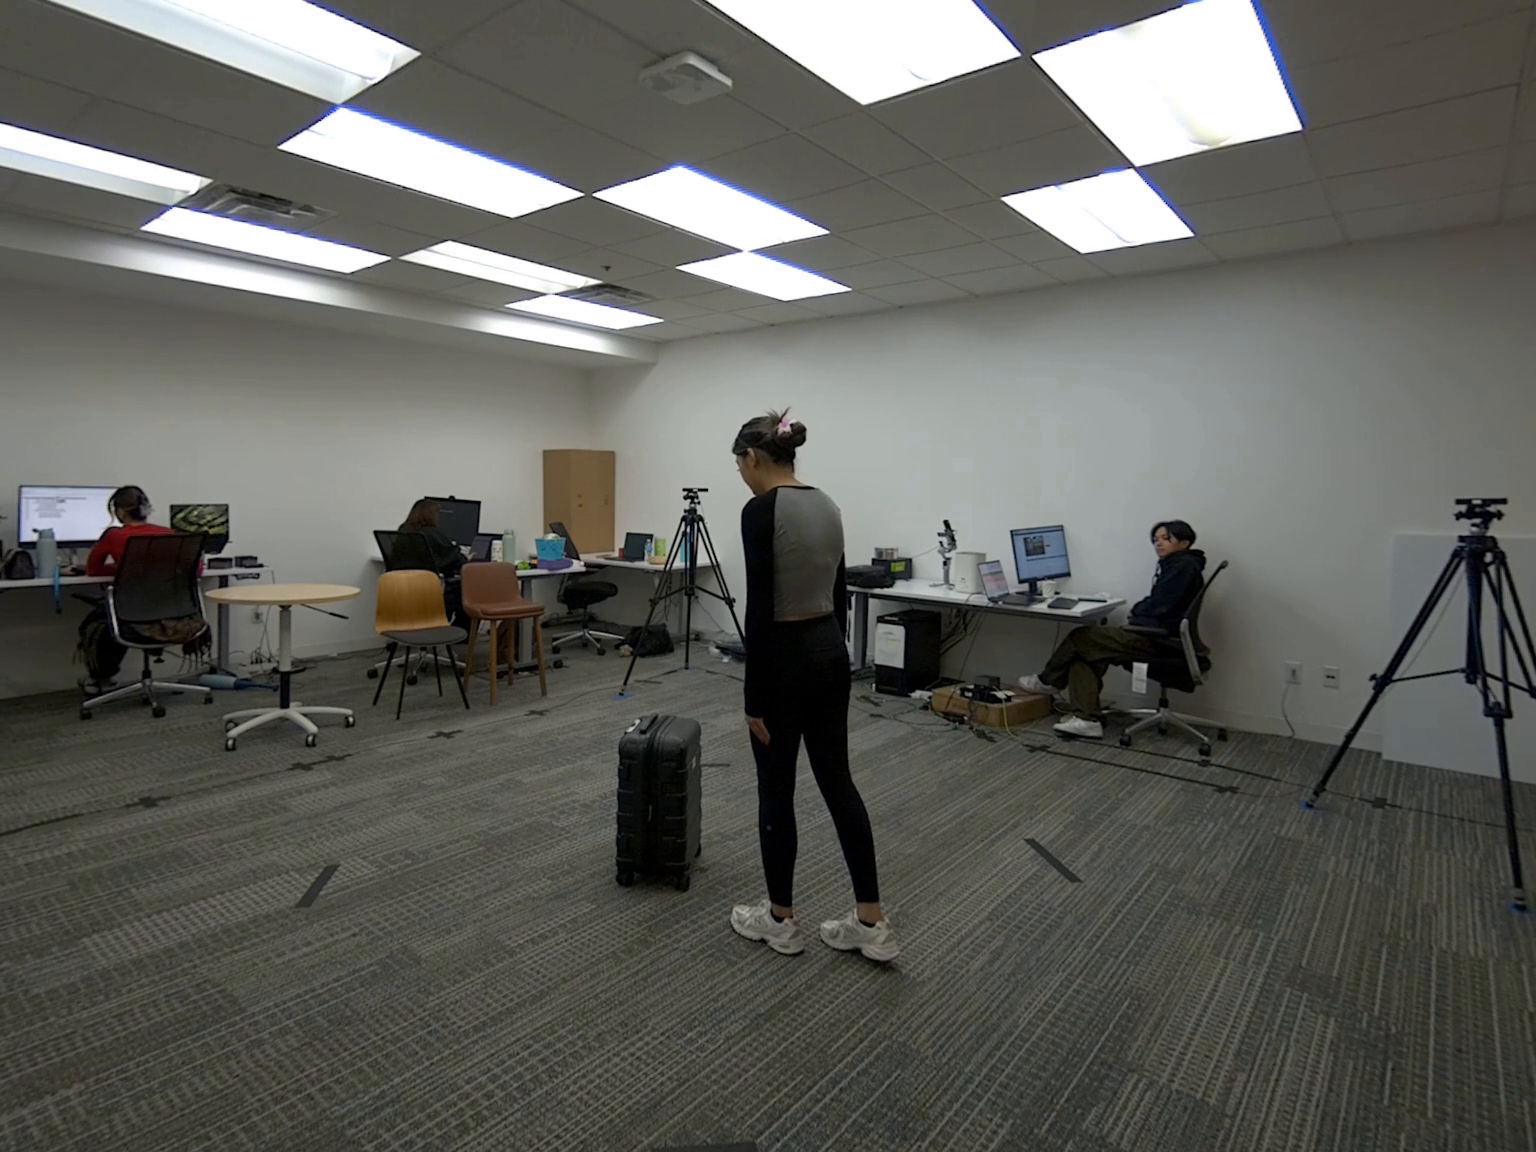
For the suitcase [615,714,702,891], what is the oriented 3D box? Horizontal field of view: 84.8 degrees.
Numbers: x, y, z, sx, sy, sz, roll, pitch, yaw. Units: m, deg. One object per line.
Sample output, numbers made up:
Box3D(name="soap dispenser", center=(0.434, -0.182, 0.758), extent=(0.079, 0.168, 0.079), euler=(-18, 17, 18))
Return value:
Box3D(name="suitcase", center=(-0.394, 0.792, 3.077), extent=(0.251, 0.548, 0.373), euler=(2, 3, 8))
